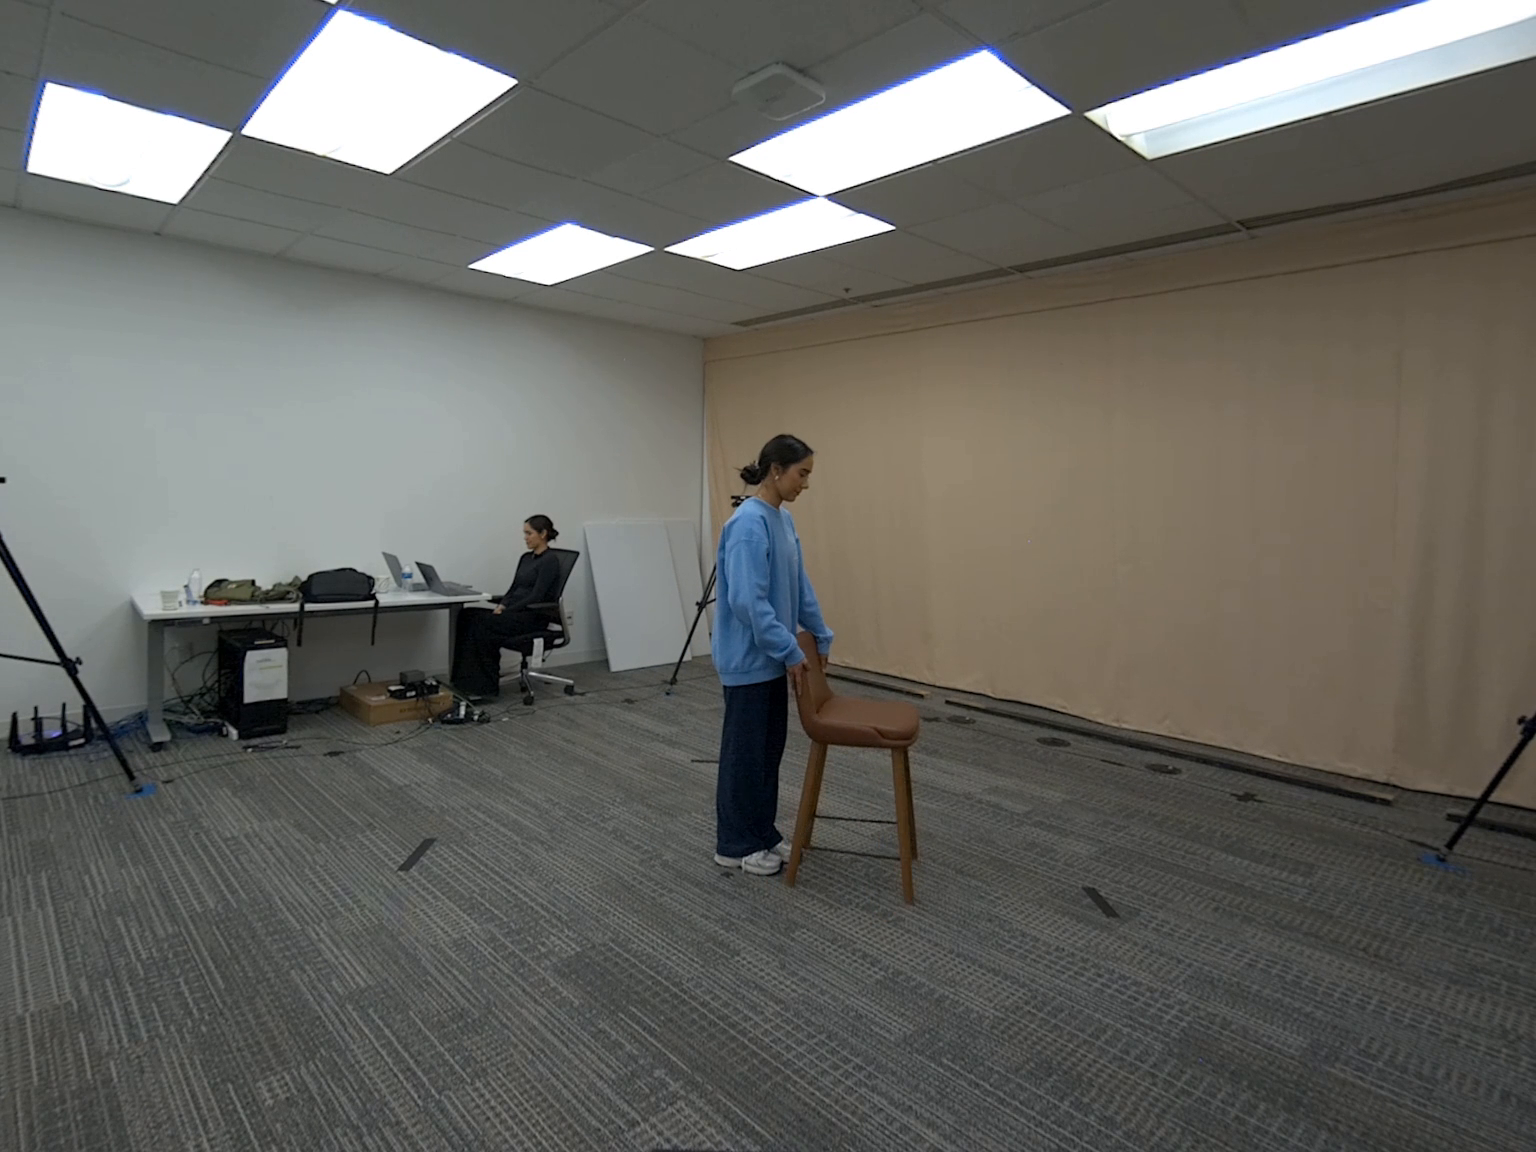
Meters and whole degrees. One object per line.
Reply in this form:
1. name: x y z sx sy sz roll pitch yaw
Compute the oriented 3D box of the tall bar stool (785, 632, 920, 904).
1. tall bar stool: 0.320 0.674 3.133 0.473 0.888 0.452 0 2 14
